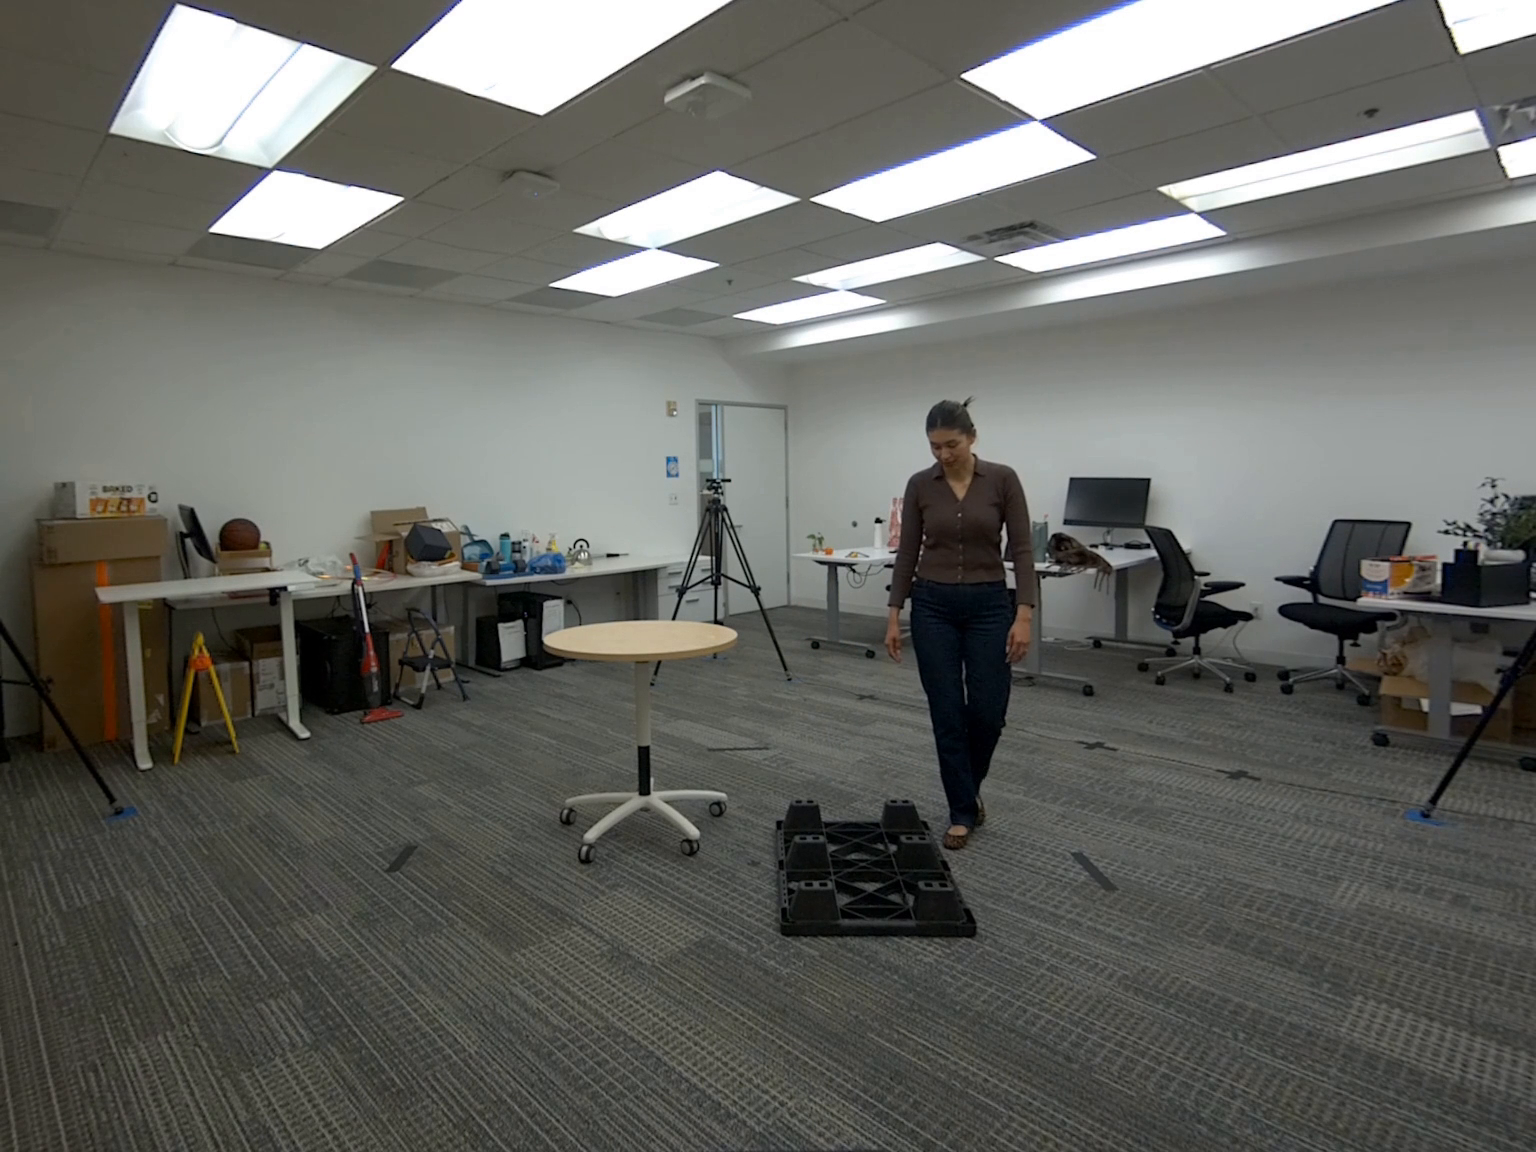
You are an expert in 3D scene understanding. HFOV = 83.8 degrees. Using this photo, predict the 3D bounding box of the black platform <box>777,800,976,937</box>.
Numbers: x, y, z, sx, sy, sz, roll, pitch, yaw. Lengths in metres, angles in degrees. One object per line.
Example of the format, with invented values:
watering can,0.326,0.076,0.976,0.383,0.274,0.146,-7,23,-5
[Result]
black platform,0.336,0.985,2.981,0.606,0.142,0.808,-1,6,0
